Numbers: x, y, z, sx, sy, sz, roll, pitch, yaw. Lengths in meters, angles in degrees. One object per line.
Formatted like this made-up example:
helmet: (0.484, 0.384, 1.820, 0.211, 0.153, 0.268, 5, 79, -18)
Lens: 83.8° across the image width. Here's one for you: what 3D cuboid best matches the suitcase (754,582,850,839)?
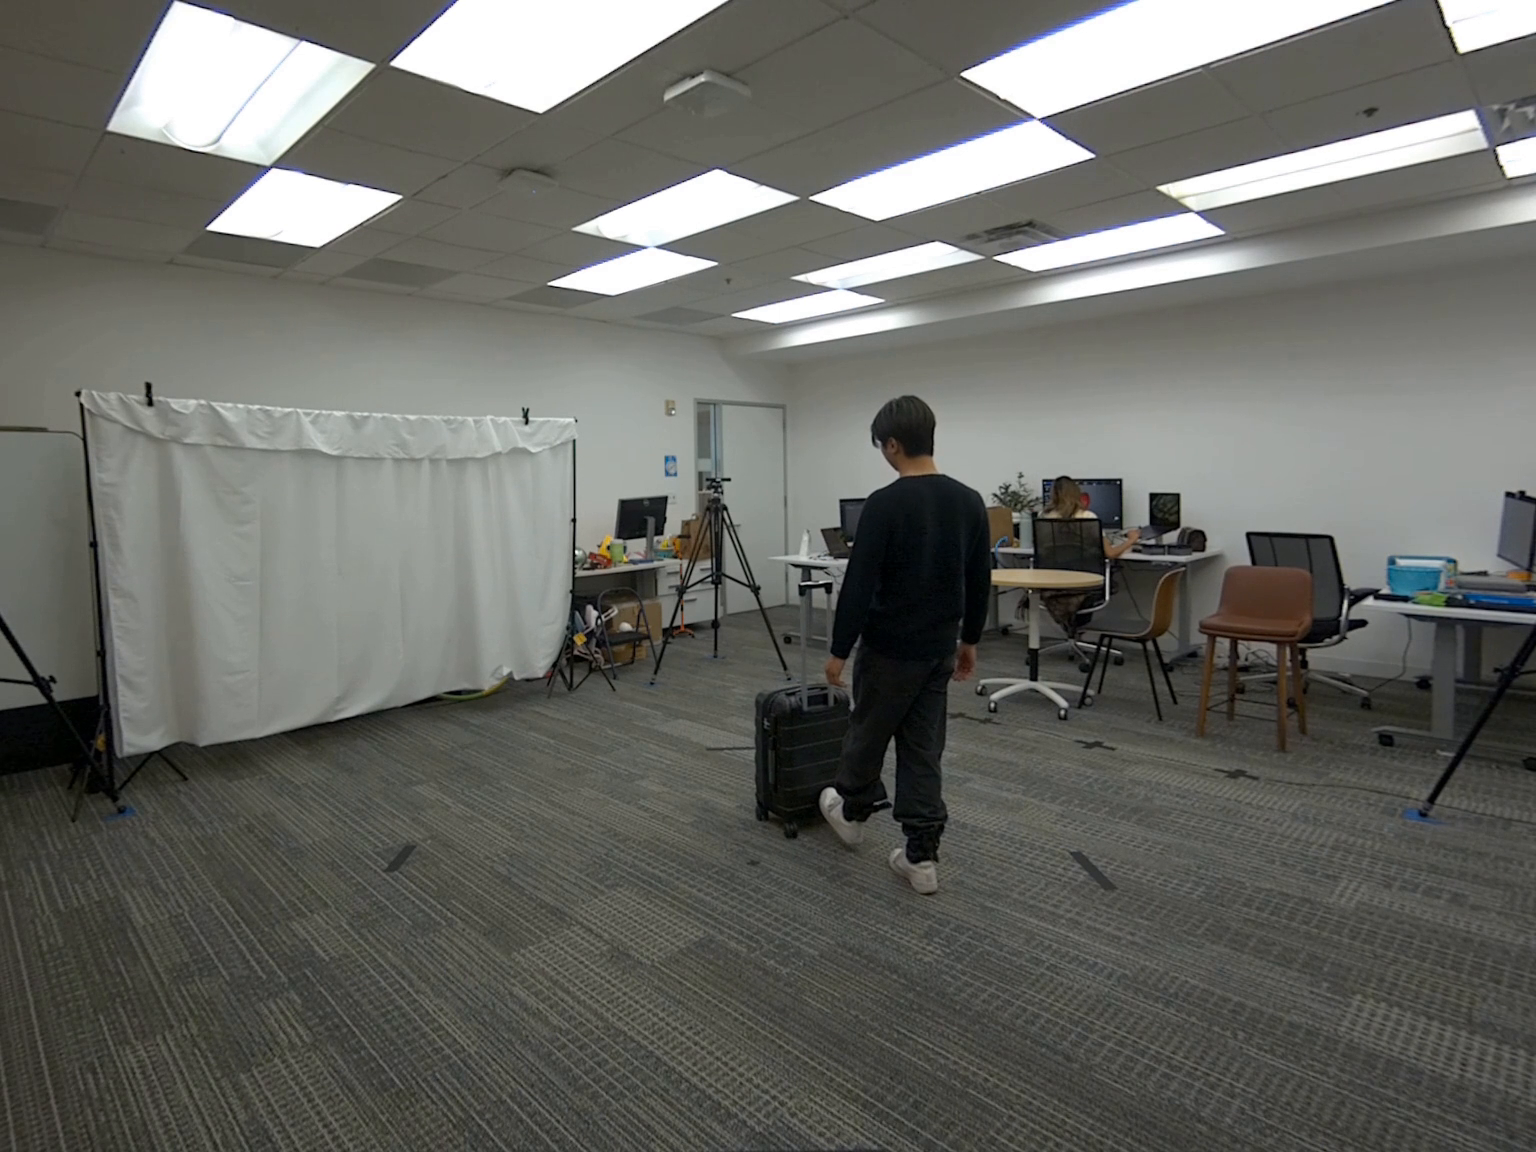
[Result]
suitcase: (0.131, 0.517, 3.489, 0.375, 0.978, 0.263, -2, 1, -28)
